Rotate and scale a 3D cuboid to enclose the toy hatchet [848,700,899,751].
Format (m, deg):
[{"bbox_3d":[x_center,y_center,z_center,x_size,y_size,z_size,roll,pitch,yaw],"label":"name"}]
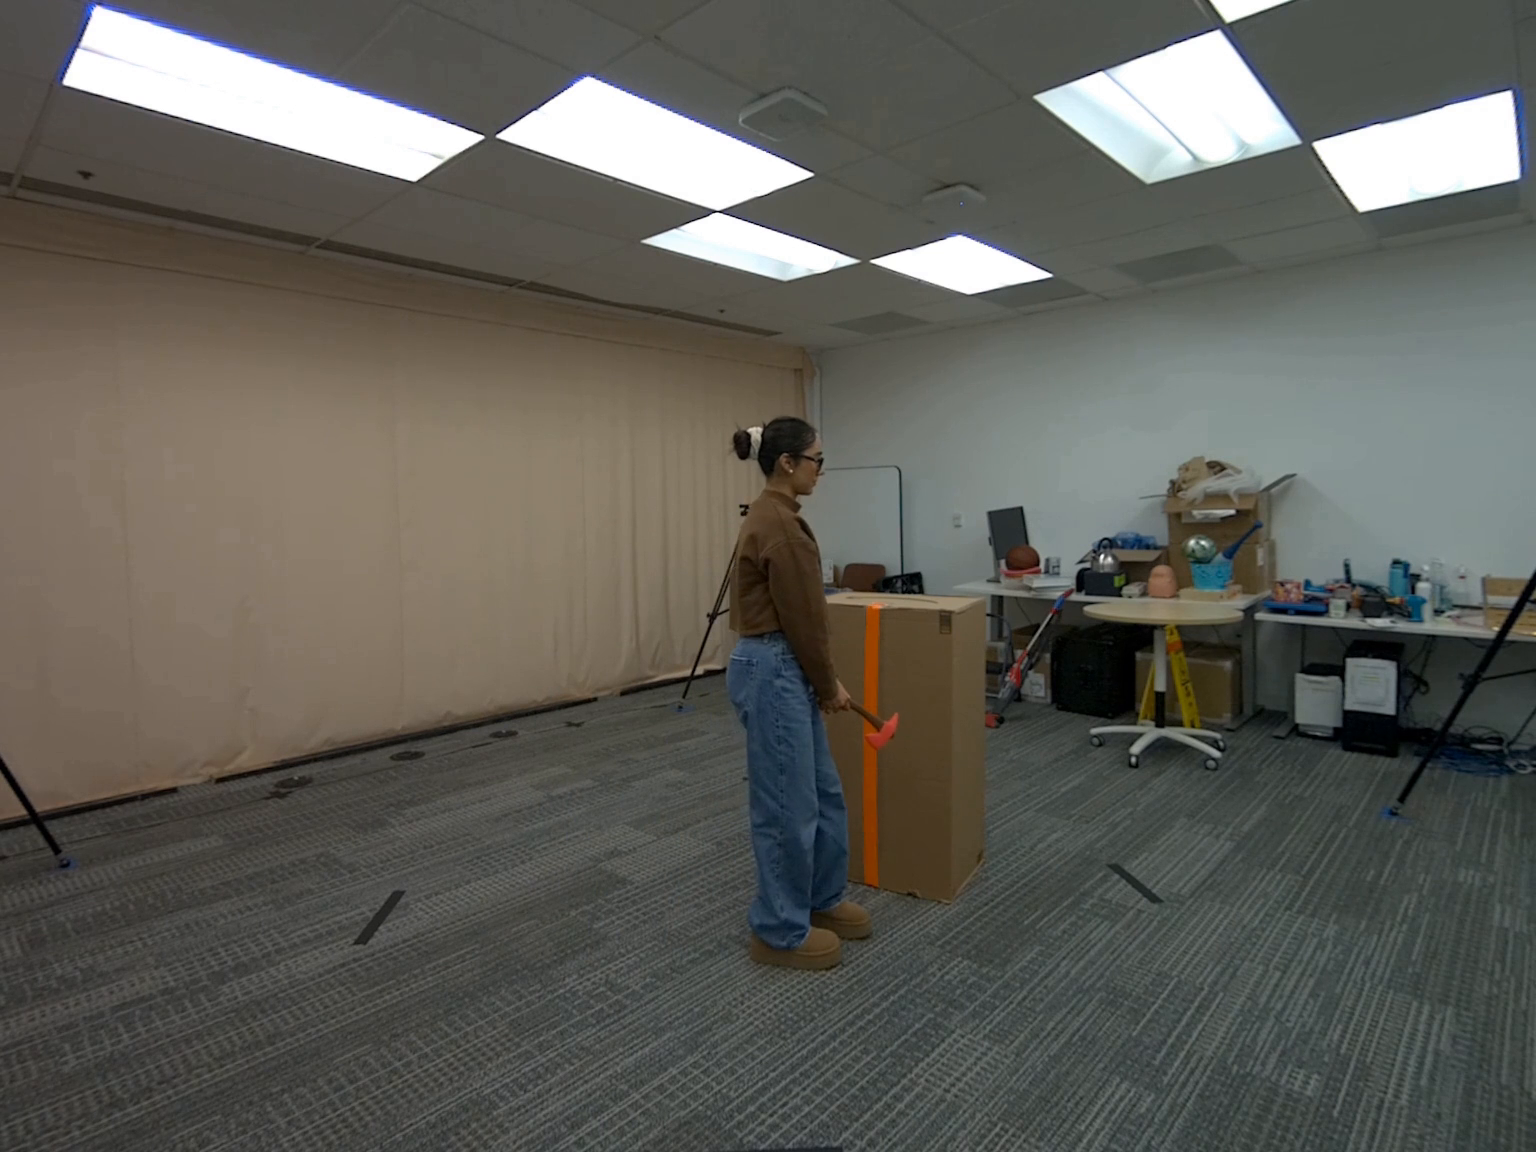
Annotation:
[{"bbox_3d":[0.271,0.459,2.622,0.266,0.131,0.030,15,-4,-12],"label":"toy hatchet"}]
